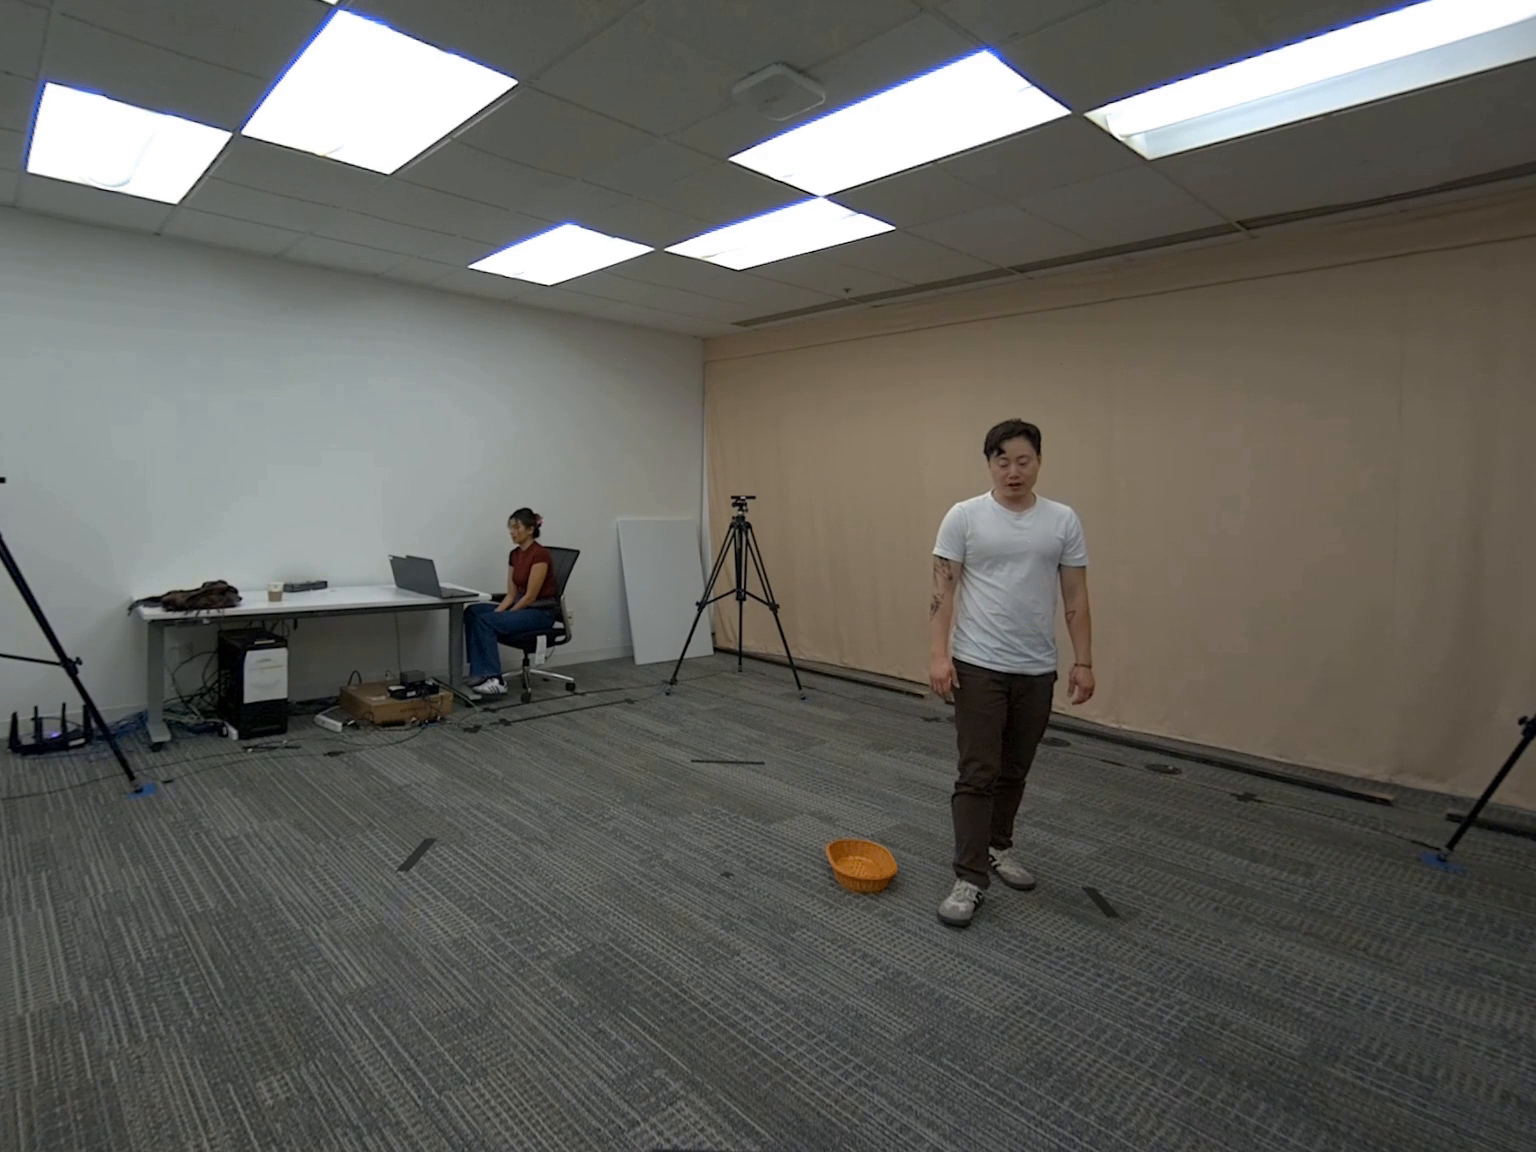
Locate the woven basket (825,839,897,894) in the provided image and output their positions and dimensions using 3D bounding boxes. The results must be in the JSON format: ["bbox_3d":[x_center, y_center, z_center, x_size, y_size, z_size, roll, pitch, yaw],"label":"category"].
[{"bbox_3d":[0.336,1.071,3.110,0.252,0.073,0.351,2,5,0],"label":"woven basket"}]
